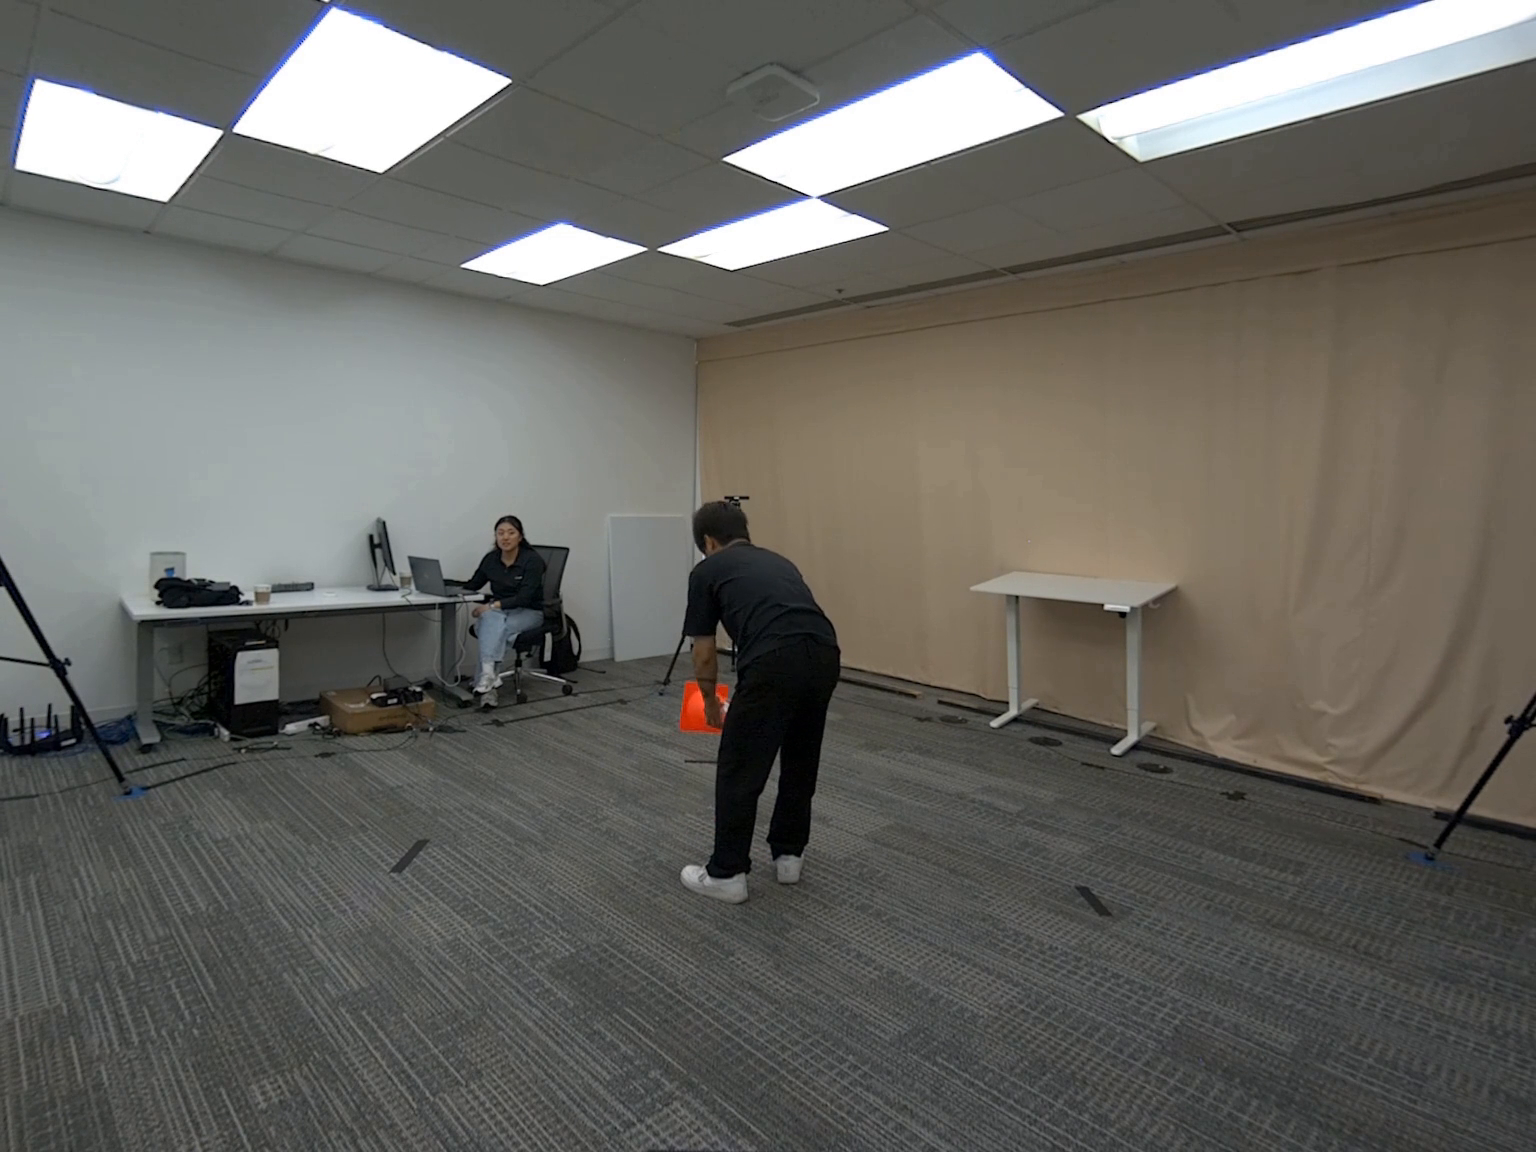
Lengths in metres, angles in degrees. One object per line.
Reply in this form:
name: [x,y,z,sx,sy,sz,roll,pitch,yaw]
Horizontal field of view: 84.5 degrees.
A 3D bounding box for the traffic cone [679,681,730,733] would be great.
traffic cone: [-0.173,0.551,3.265,0.200,0.203,0.392,8,0,-30]
